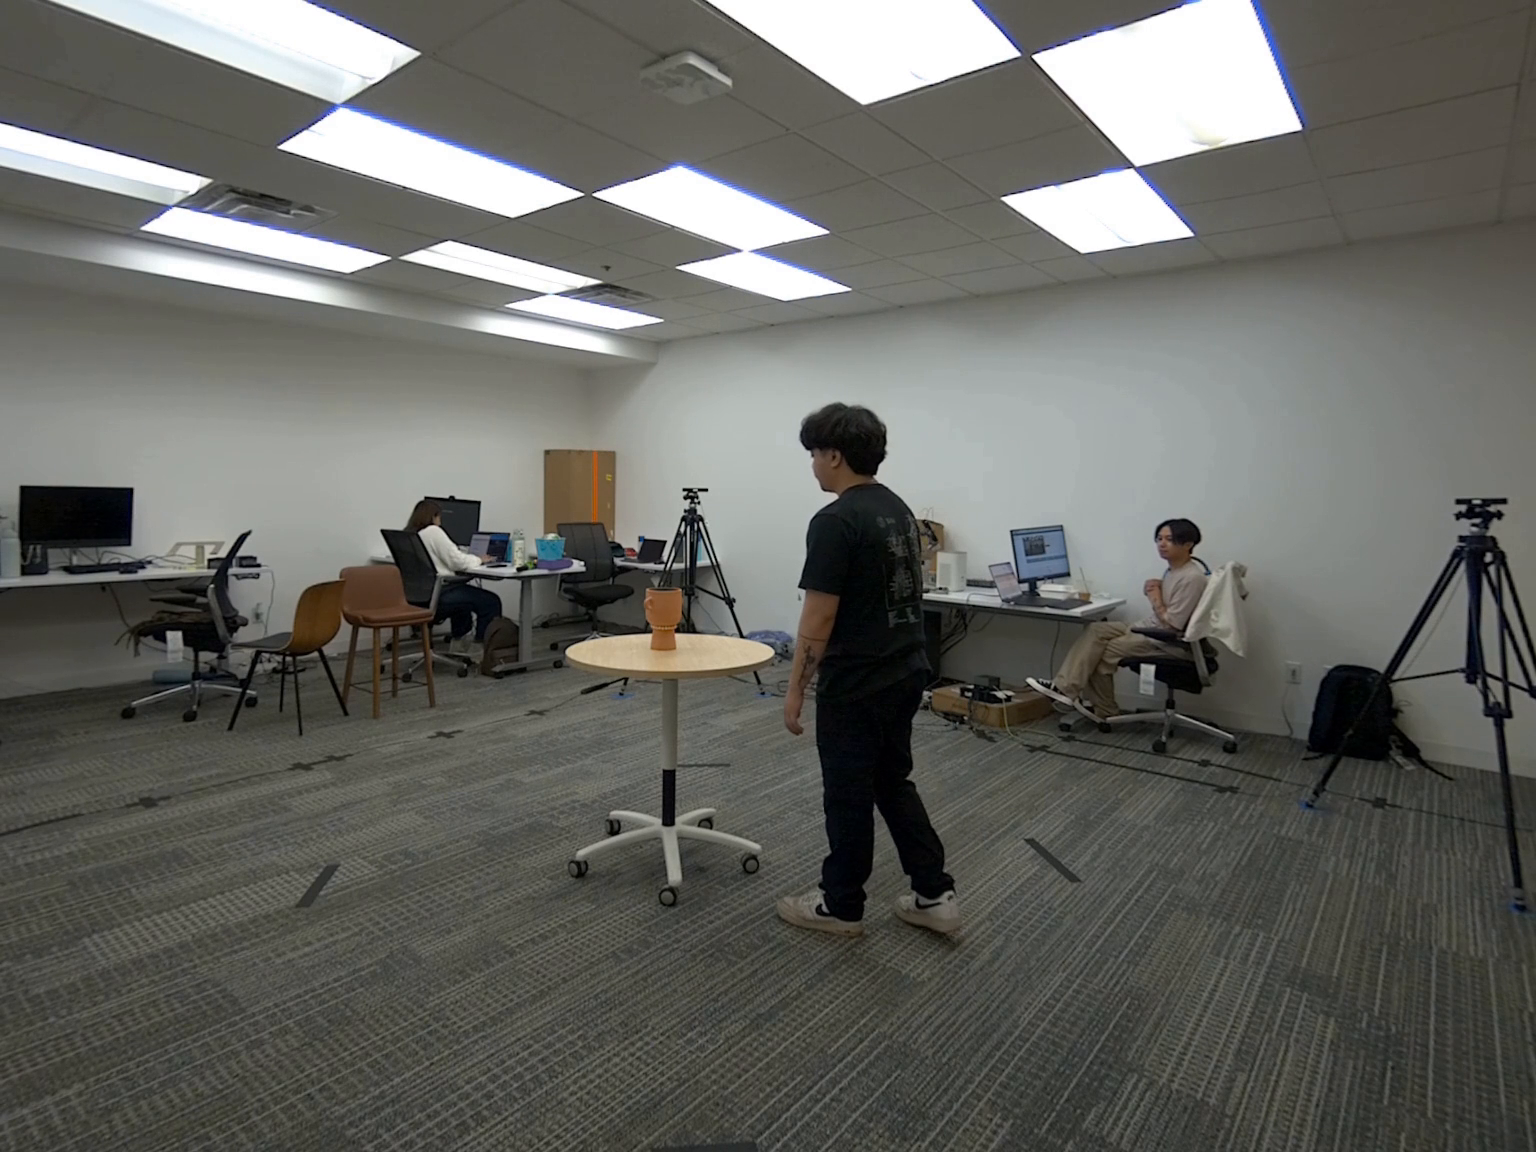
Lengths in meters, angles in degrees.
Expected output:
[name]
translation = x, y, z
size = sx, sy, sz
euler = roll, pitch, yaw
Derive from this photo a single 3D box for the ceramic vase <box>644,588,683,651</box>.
[ceramic vase]
translation = -0.401, 0.158, 3.173
size = 0.157, 0.219, 0.137
euler = -1, 3, -12
